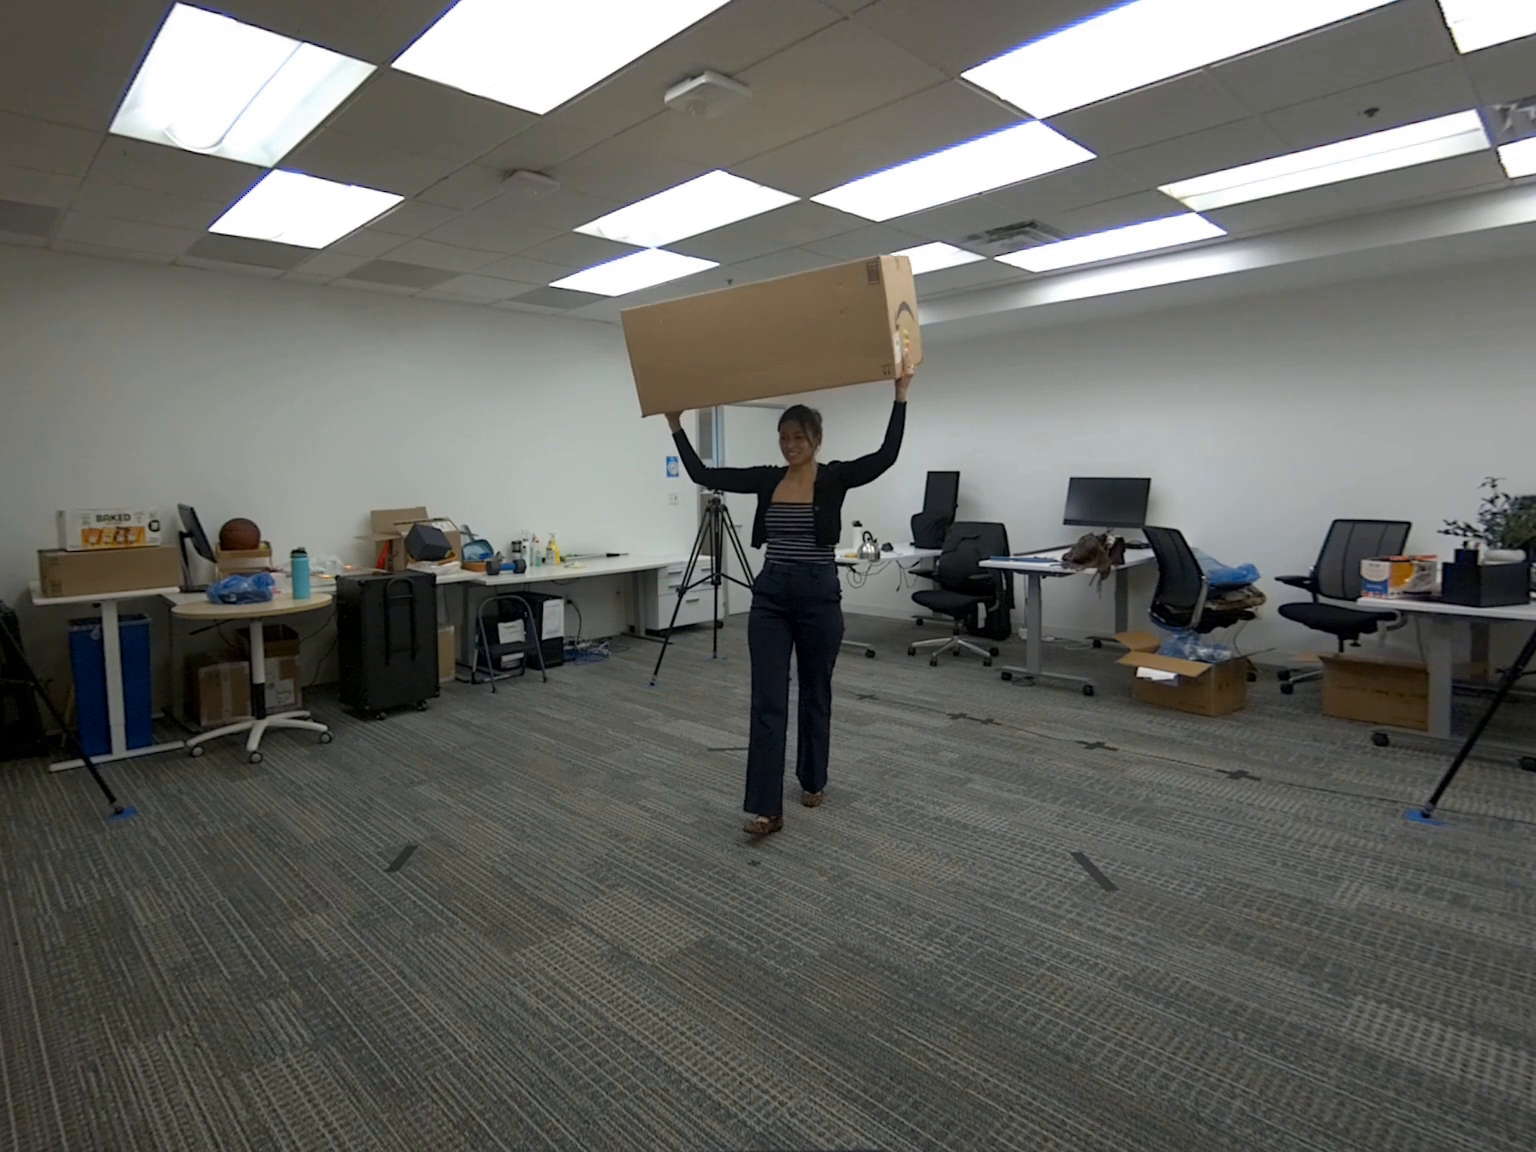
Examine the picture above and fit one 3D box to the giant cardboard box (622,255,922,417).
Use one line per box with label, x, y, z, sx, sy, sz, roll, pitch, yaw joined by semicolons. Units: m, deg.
giant cardboard box;0.026;-0.943;3.393;1.046;0.419;0.575;-4;17;23
